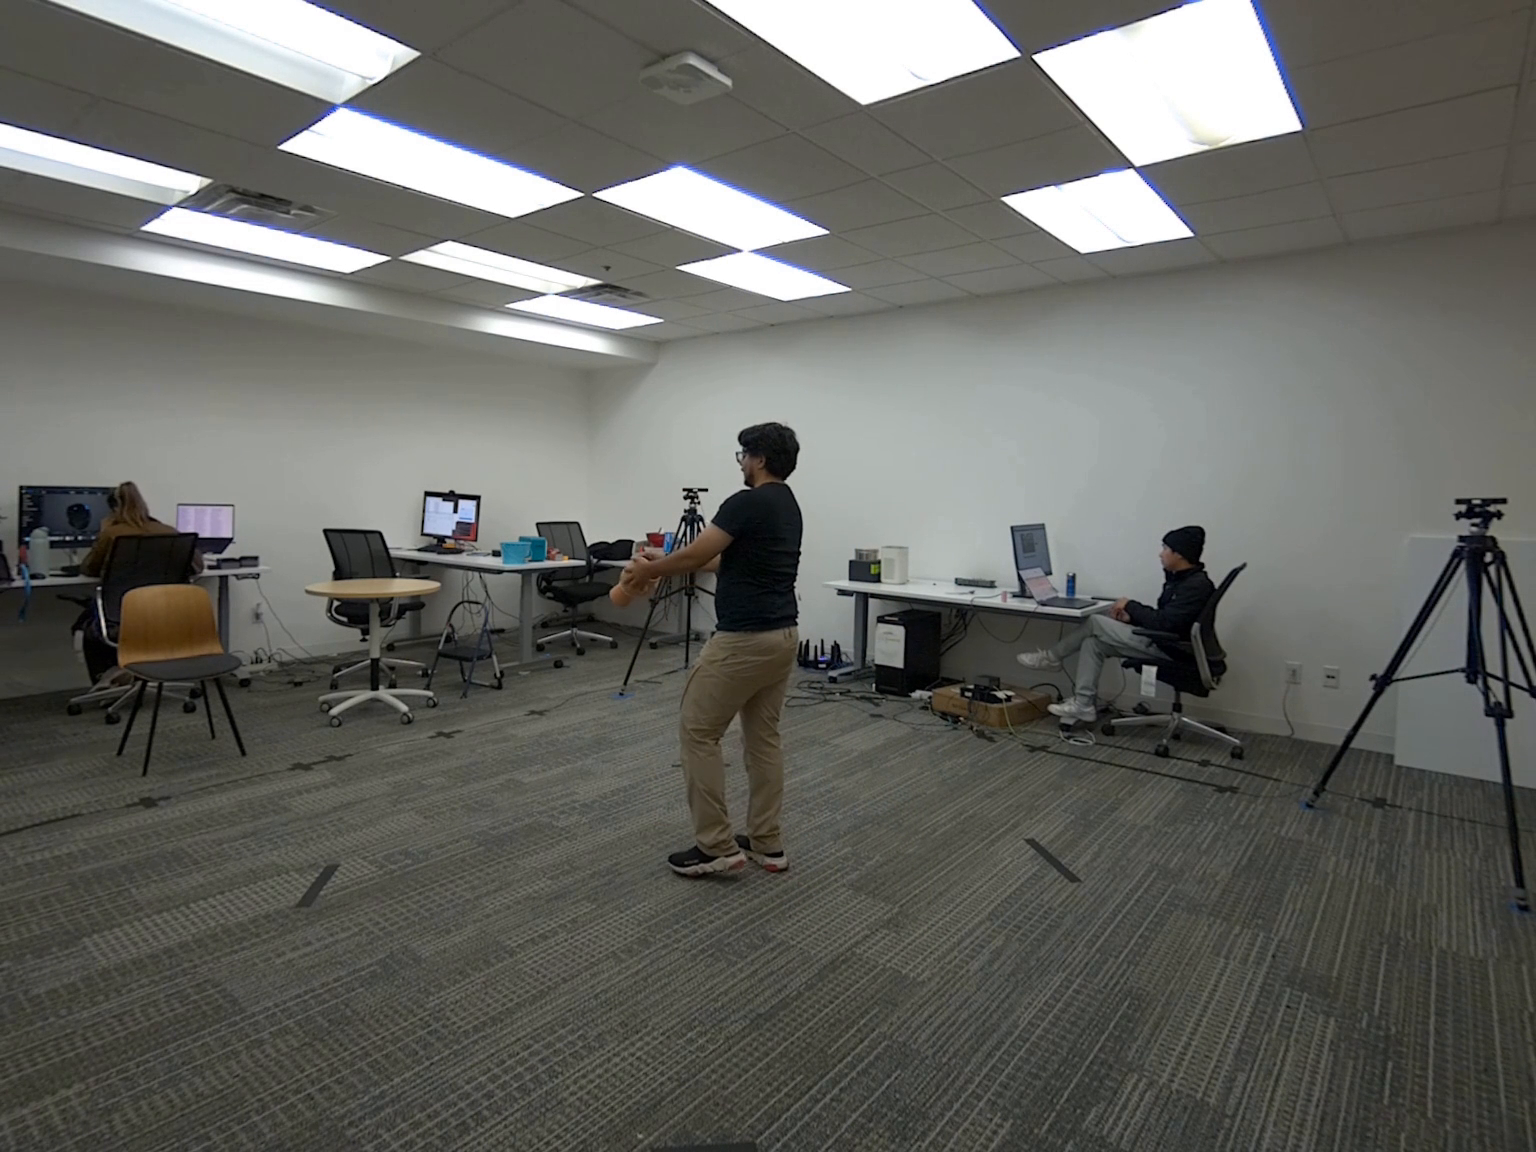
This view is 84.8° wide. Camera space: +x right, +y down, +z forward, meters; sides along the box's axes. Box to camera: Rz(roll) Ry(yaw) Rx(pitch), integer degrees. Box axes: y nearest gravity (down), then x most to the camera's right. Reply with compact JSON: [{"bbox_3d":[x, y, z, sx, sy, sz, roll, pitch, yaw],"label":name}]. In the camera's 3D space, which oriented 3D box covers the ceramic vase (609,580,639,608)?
[{"bbox_3d":[-0.572,0.027,3.475,0.220,0.133,0.160,-43,9,33],"label":"ceramic vase"}]
